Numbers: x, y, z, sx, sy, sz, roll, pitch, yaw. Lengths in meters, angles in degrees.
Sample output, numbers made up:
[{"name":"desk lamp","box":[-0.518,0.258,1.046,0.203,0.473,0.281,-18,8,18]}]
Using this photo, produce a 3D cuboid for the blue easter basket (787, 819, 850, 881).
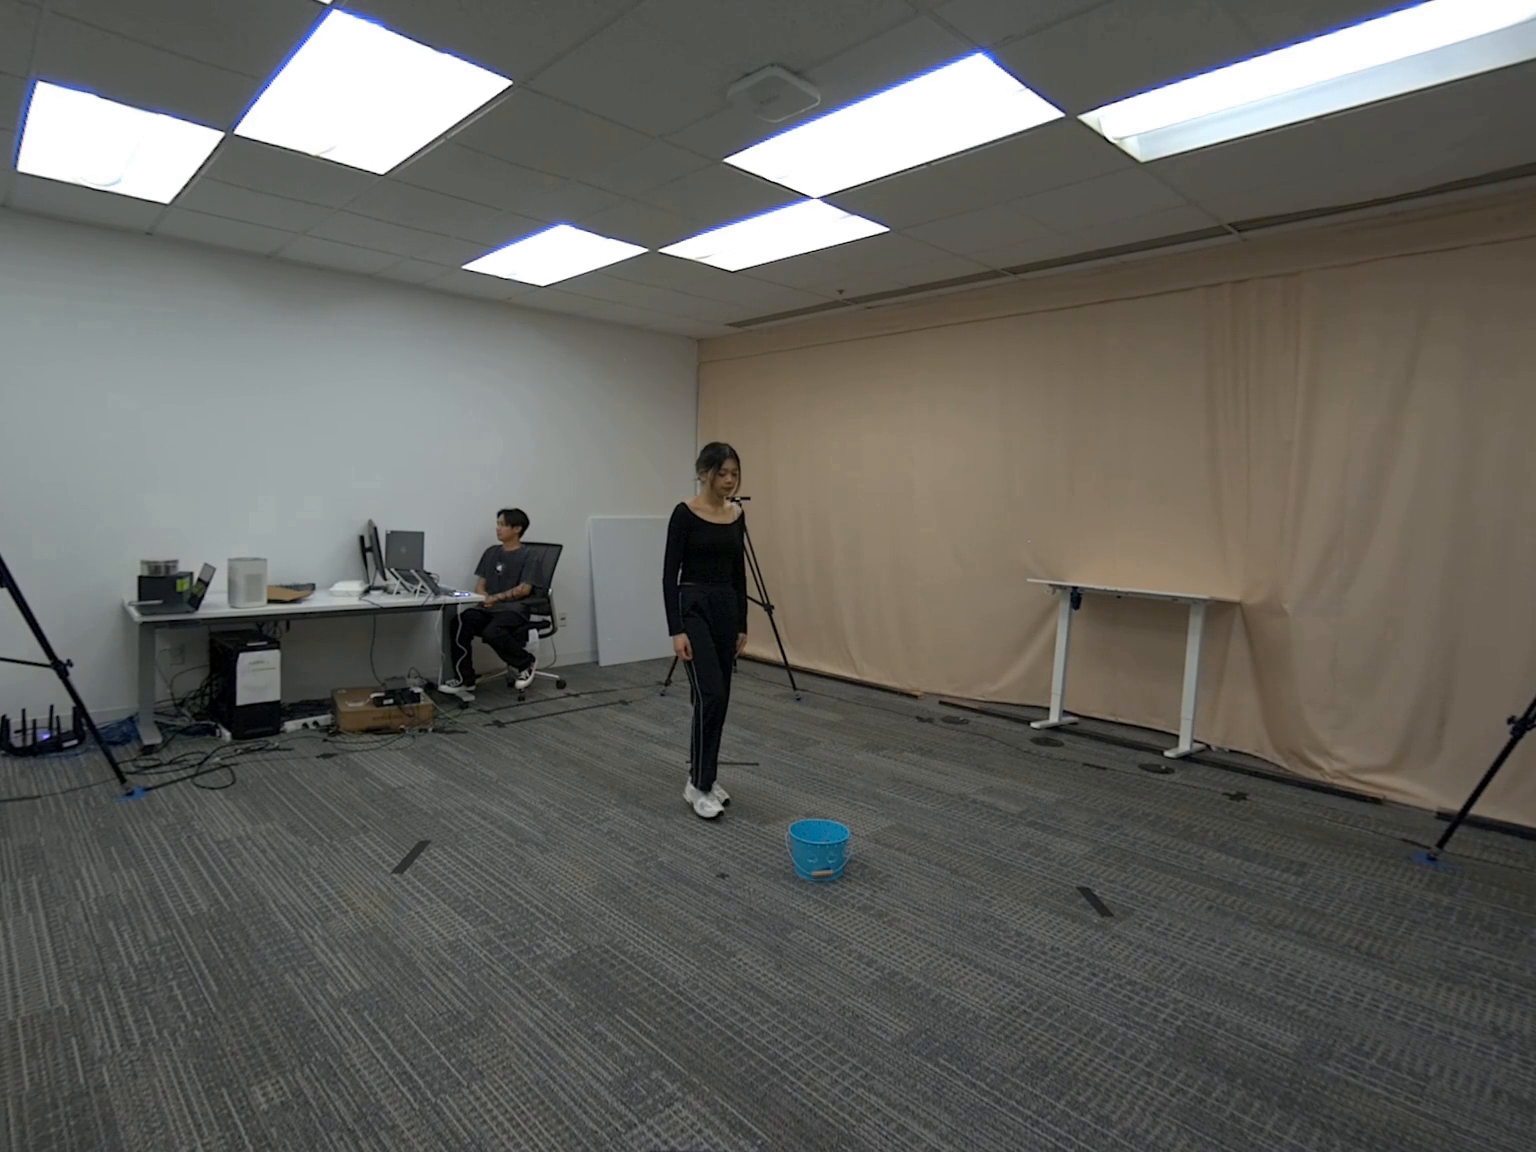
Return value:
[{"name":"blue easter basket","box":[0.180,1.029,3.157,0.243,0.155,0.244,1,4,-1]}]
